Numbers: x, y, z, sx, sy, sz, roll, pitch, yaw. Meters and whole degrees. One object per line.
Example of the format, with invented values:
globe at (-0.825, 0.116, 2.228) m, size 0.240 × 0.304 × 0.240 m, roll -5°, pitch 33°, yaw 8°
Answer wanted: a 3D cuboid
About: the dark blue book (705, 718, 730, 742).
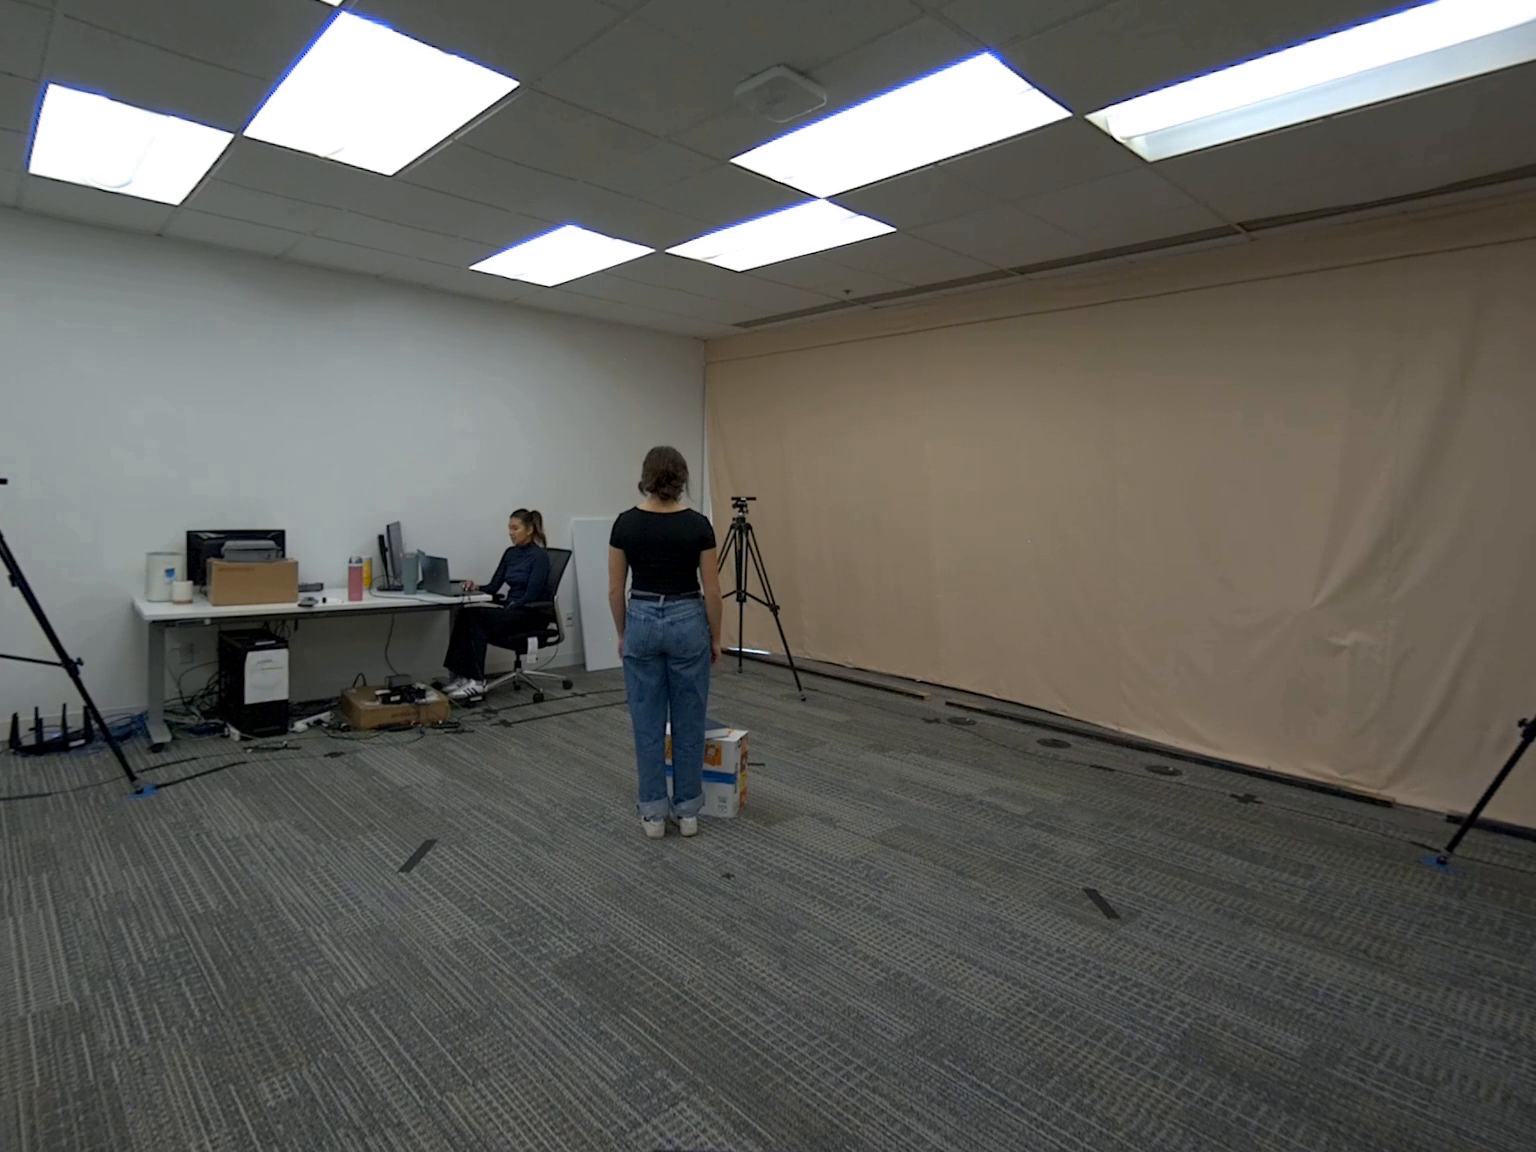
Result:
dark blue book at (-0.308, 0.684, 3.797) m, size 0.160 × 0.045 × 0.251 m, roll -1°, pitch 4°, yaw -34°
